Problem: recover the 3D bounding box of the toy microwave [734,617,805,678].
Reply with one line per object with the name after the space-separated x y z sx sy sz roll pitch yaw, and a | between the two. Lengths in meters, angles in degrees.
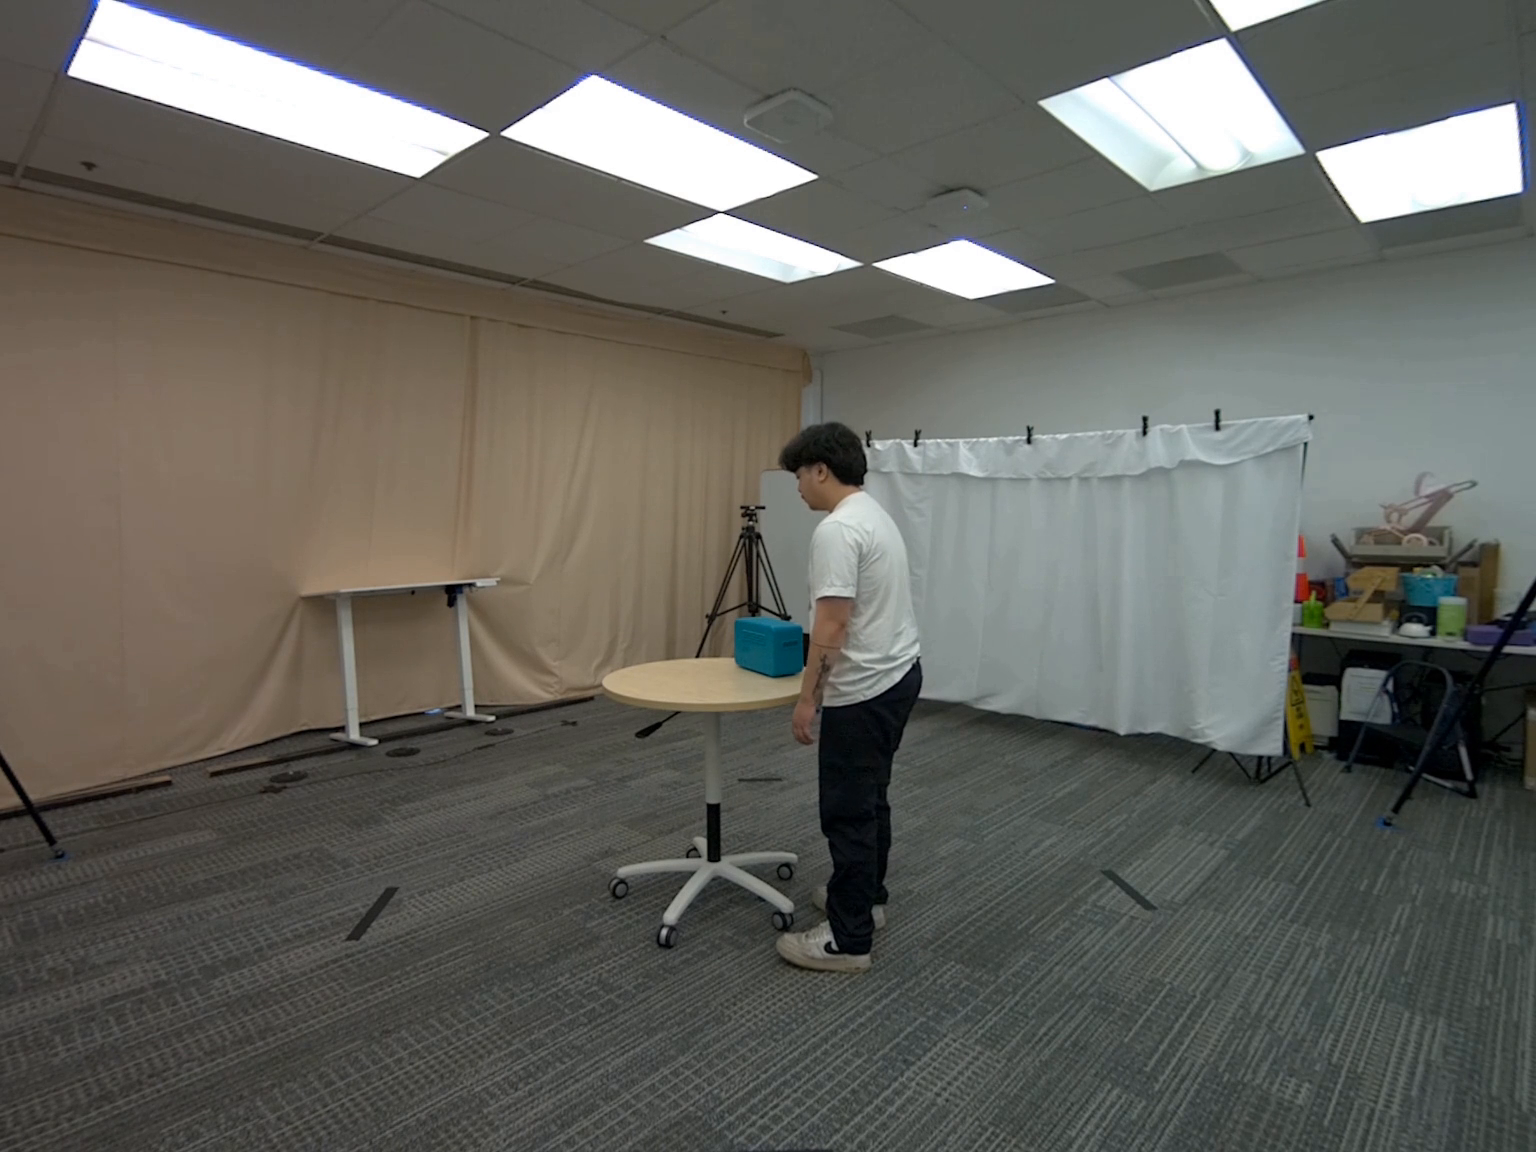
0.010 0.251 3.058 0.148 0.183 0.294 -3 5 -30 | toy microwave
